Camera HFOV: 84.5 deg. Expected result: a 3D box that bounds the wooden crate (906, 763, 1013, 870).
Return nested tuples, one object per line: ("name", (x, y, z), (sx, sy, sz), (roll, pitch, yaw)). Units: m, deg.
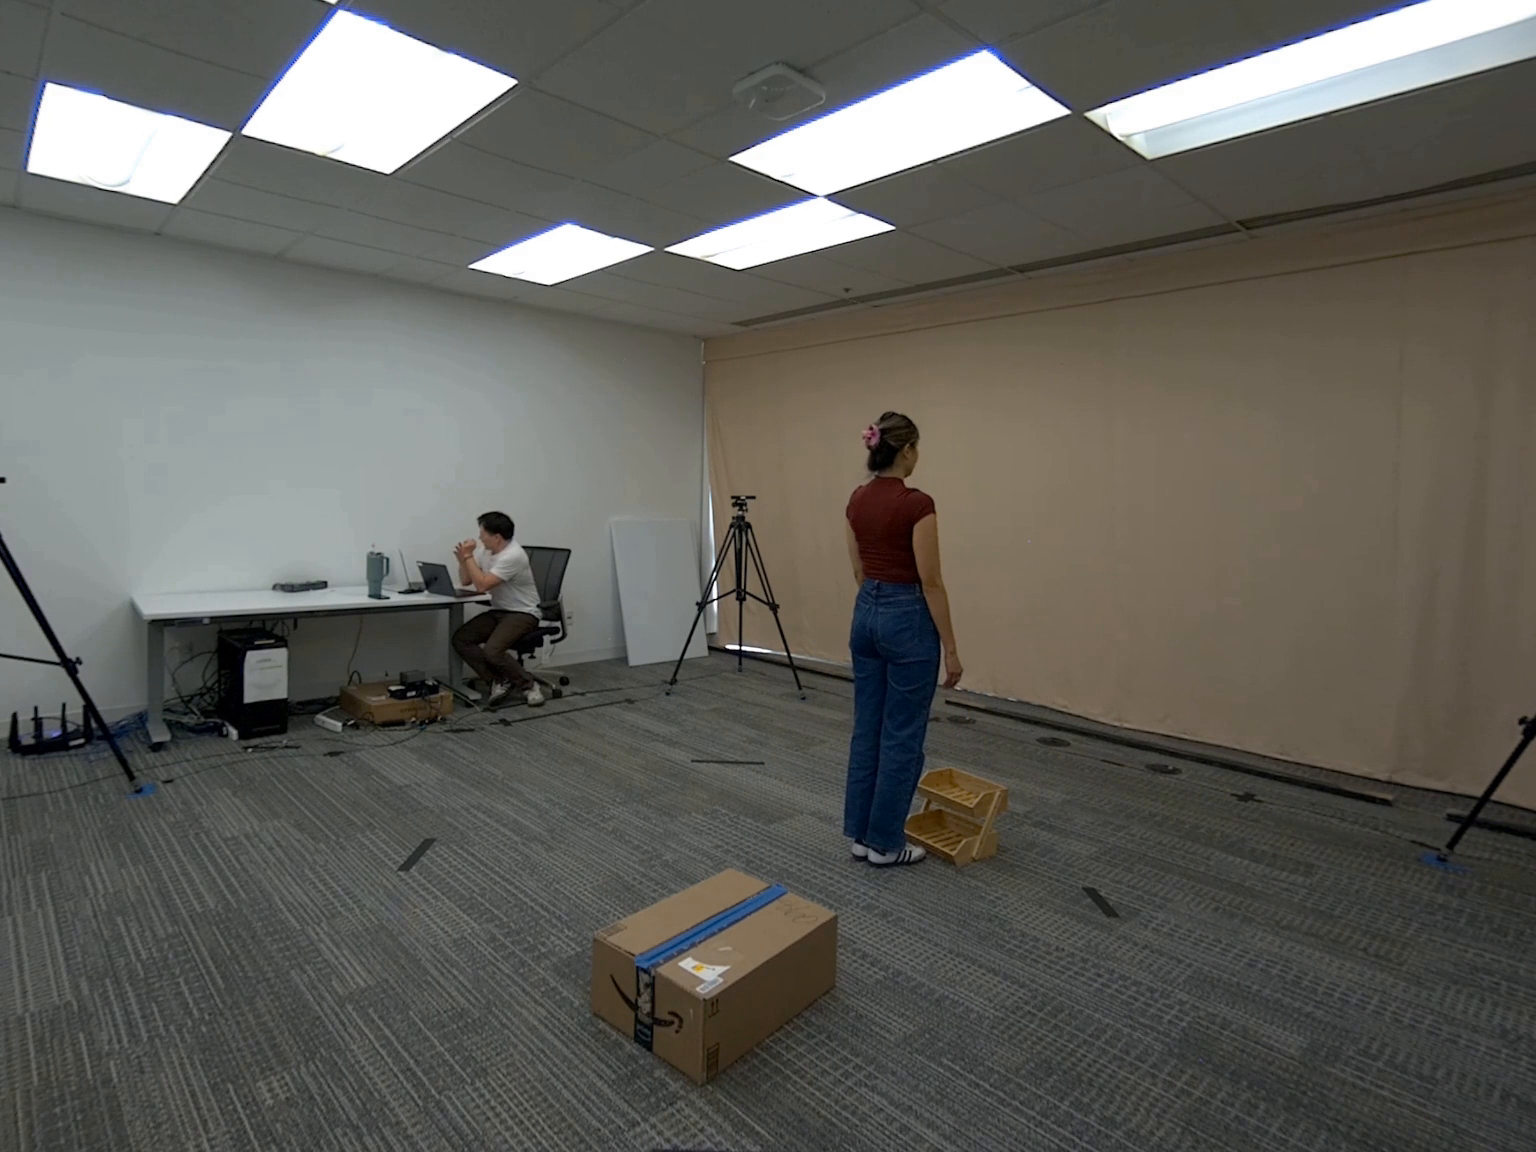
("wooden crate", (0.747, 0.955, 3.418), (0.295, 0.273, 0.332), (0, 5, -36))
